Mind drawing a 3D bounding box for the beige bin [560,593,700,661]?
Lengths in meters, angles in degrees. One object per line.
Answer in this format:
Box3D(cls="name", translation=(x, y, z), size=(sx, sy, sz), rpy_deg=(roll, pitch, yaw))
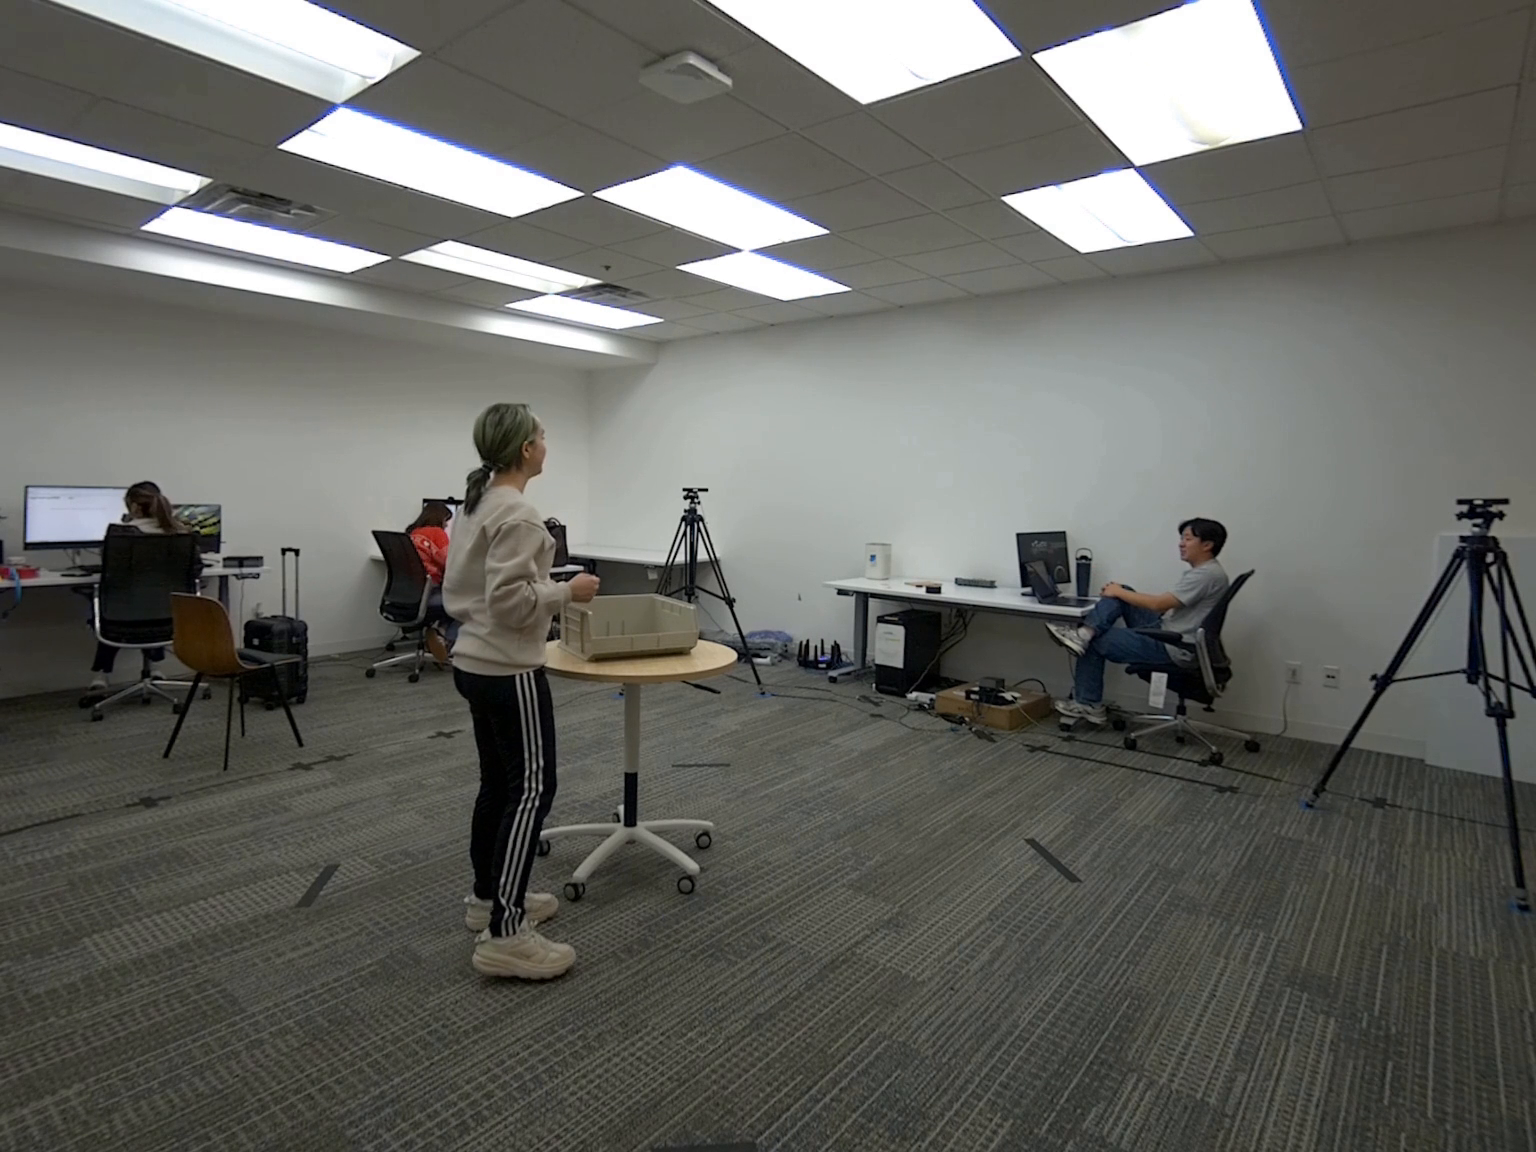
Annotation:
Box3D(cls="beige bin", translation=(-0.536, 0.187, 3.155), size=(0.411, 0.188, 0.388), rpy_deg=(-2, 5, -30))
